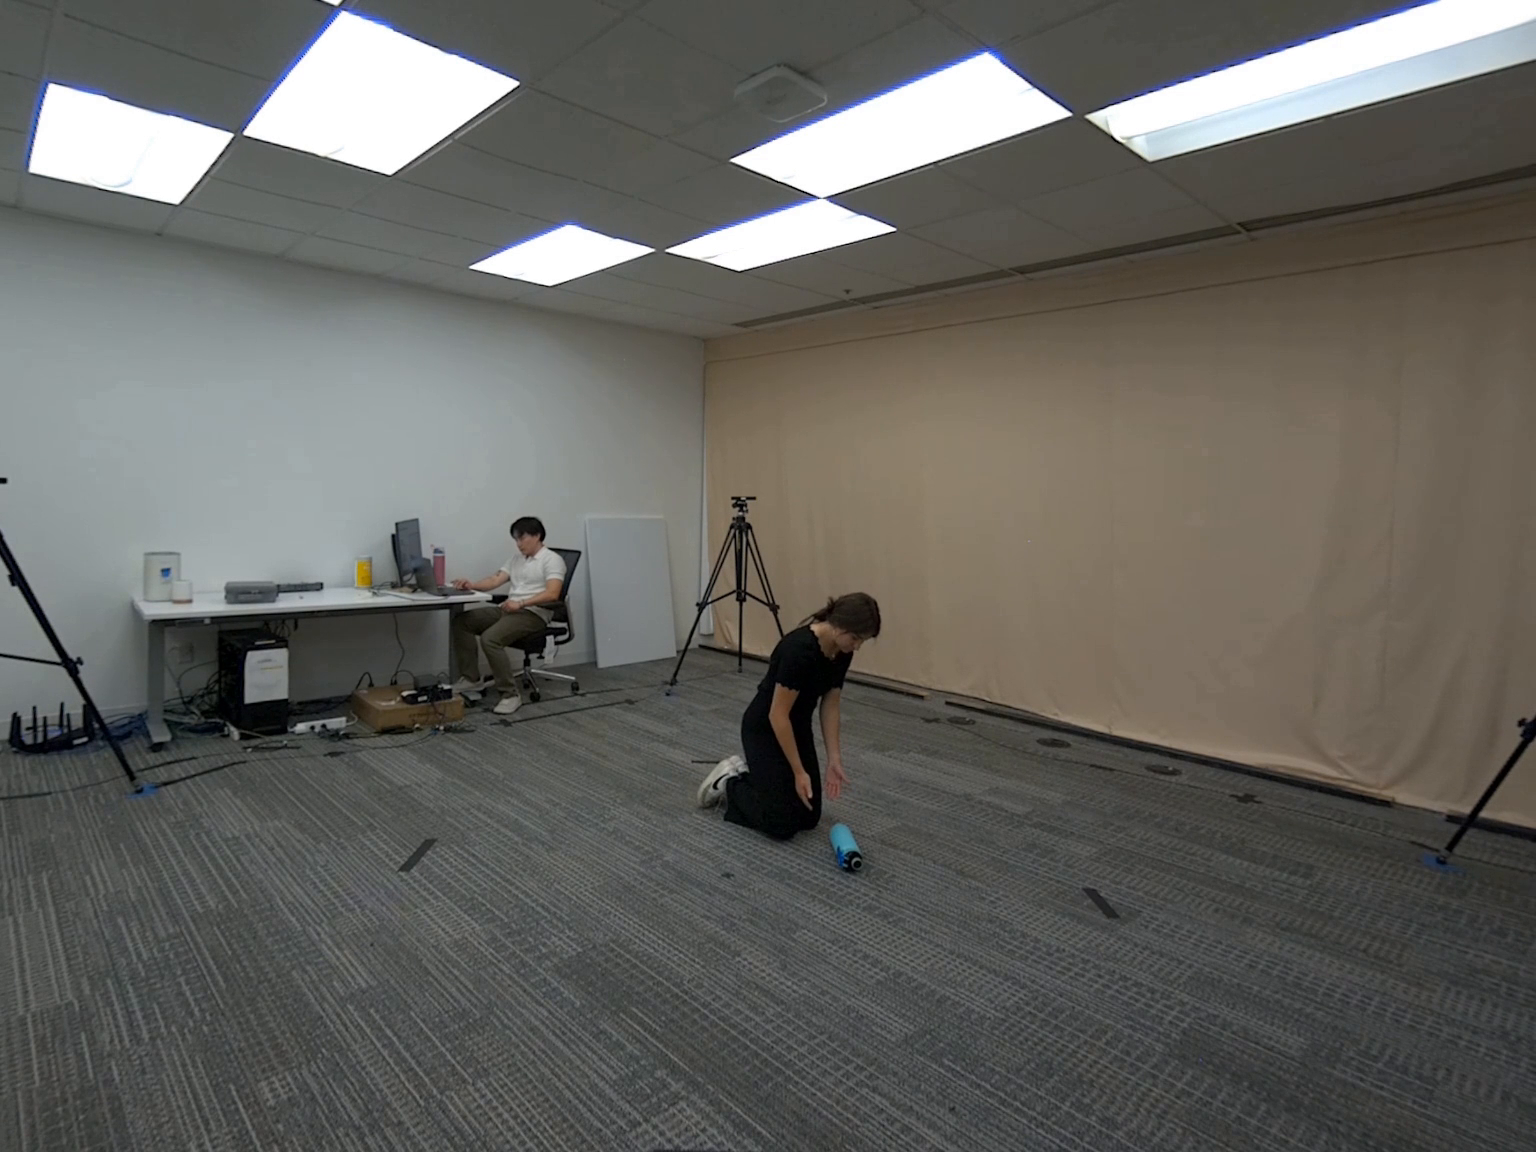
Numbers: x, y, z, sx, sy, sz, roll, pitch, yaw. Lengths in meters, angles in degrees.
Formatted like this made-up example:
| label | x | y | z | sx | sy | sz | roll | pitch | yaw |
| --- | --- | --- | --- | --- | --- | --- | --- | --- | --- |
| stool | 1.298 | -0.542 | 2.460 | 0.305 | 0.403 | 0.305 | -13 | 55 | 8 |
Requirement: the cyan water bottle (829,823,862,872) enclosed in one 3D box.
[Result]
| label | x | y | z | sx | sy | sz | roll | pitch | yaw |
| --- | --- | --- | --- | --- | --- | --- | --- | --- | --- |
| cyan water bottle | 0.292 | 1.055 | 3.263 | 0.092 | 0.092 | 0.285 | 1 | 5 | -4 |
